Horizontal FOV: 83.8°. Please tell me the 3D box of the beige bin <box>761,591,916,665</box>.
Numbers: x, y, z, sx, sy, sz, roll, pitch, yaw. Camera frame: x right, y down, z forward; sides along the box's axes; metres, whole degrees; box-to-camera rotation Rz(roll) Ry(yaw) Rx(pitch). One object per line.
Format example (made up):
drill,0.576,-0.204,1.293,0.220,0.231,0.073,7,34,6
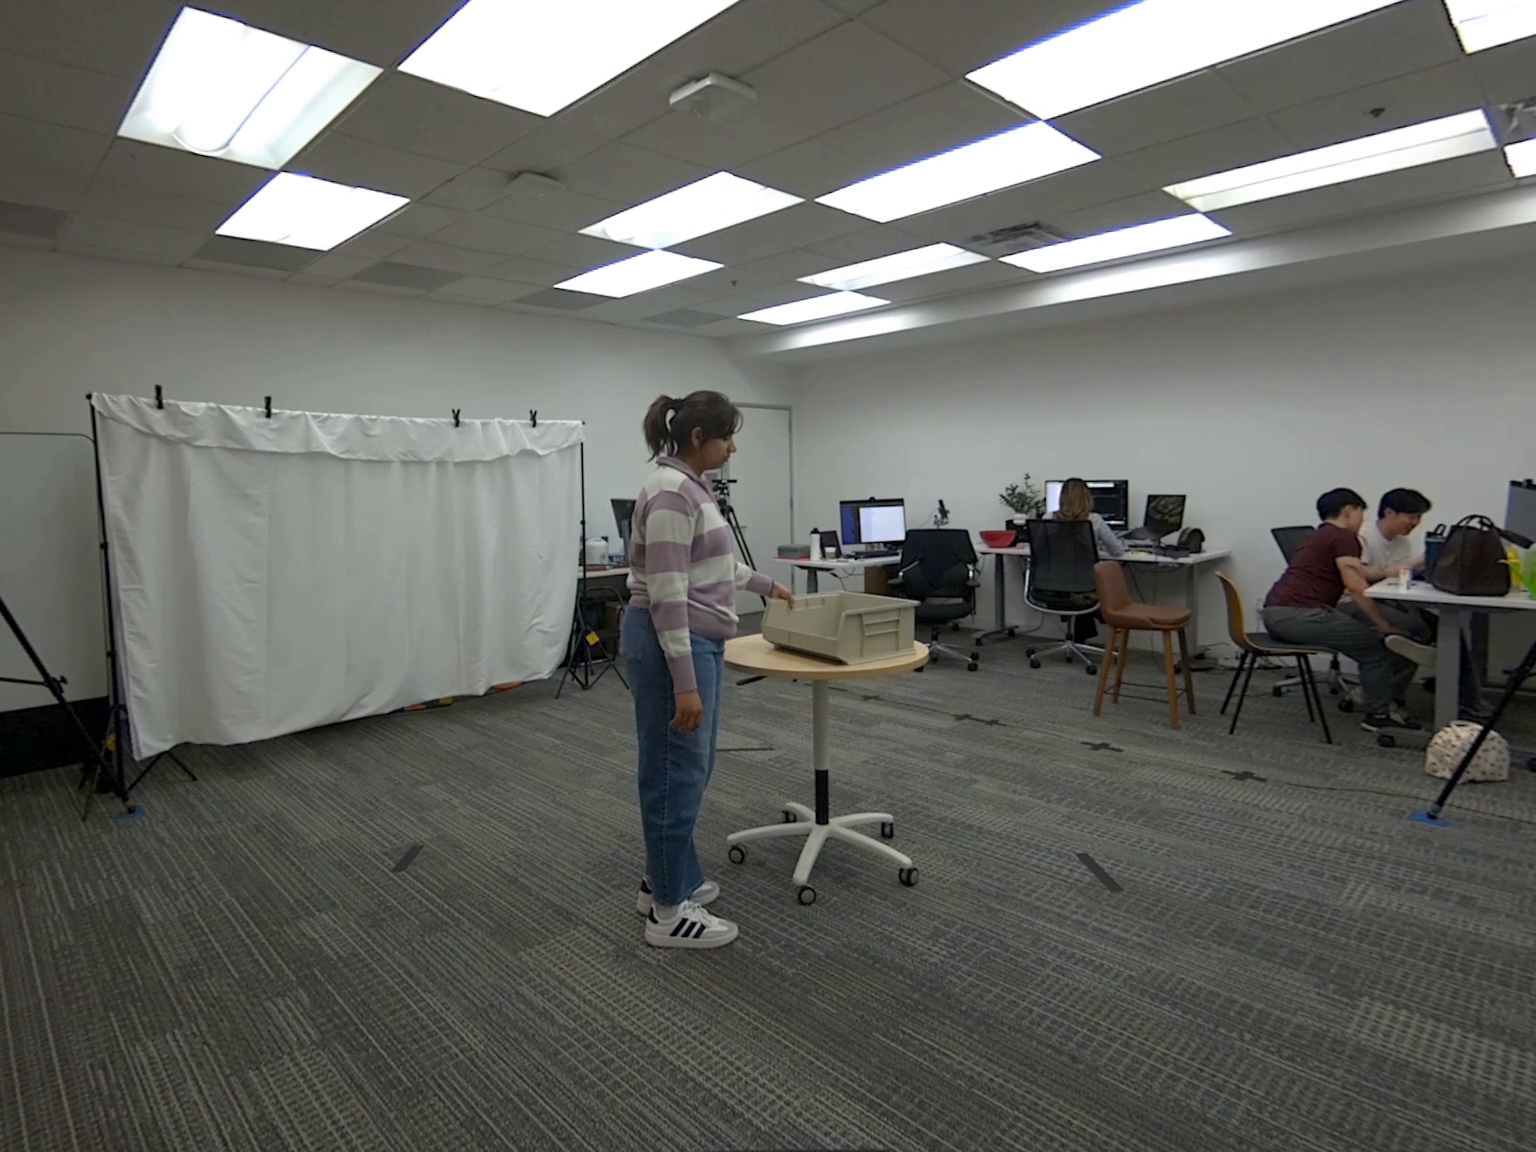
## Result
beige bin,0.258,0.176,3.018,0.368,0.188,0.435,-3,6,-34
